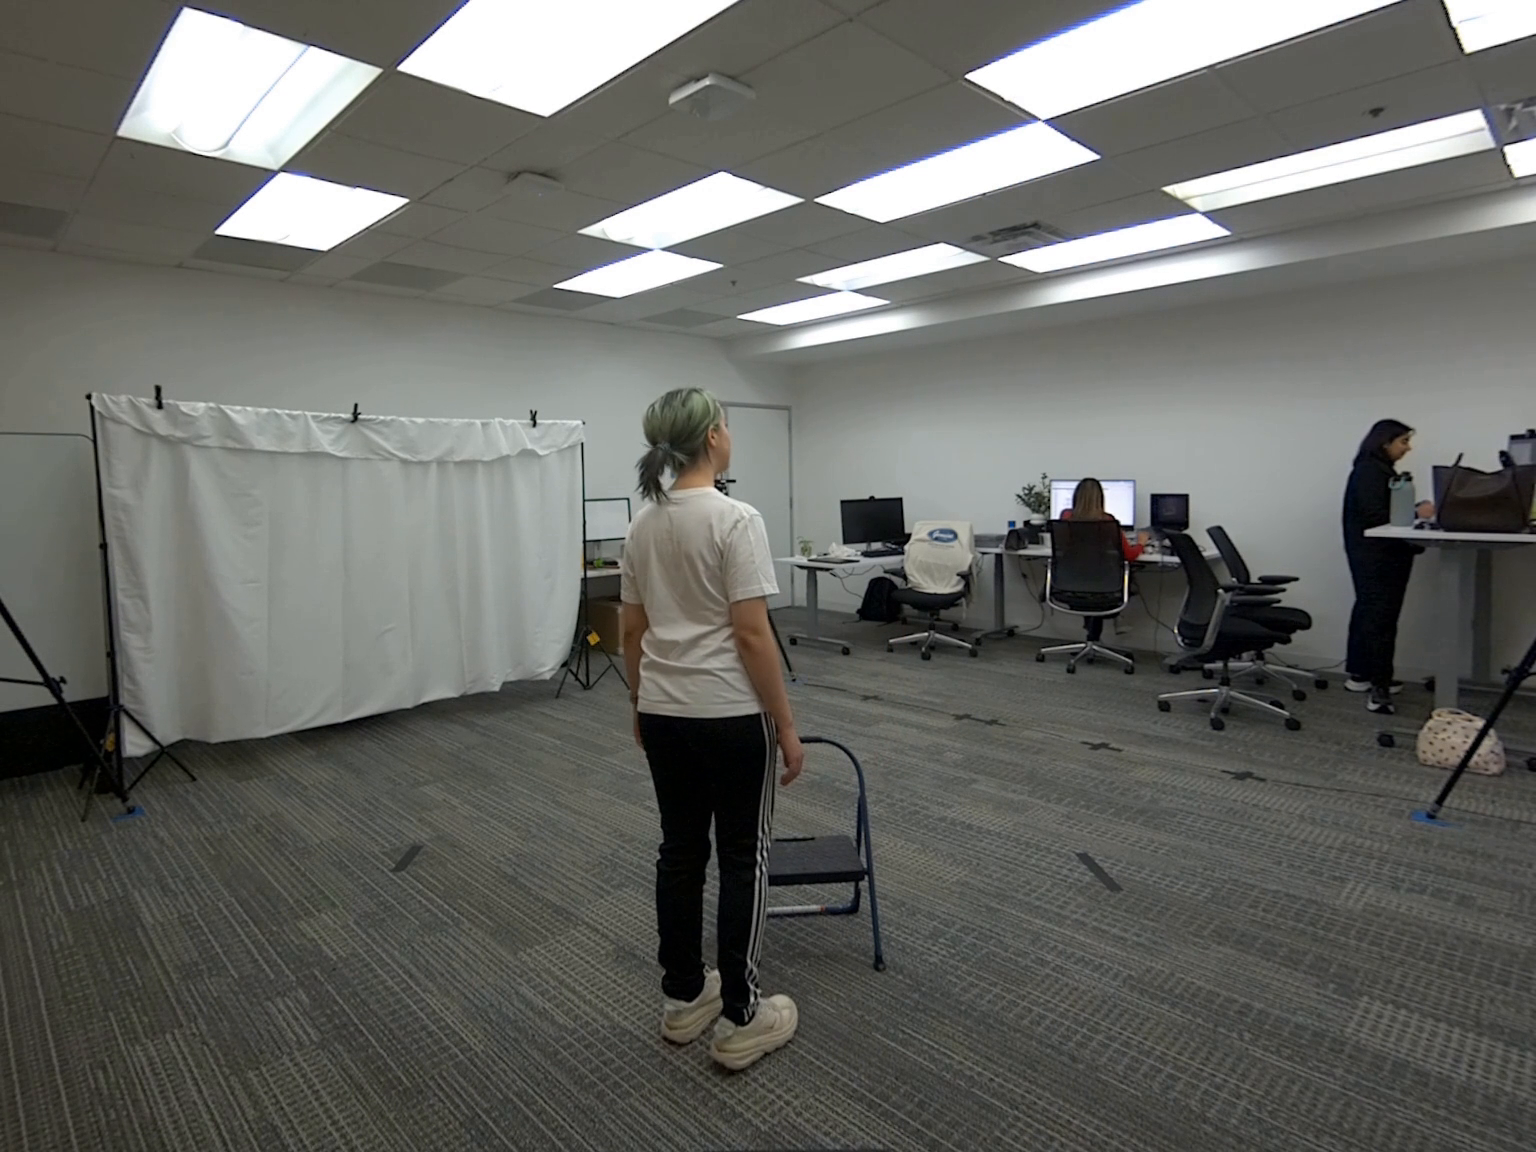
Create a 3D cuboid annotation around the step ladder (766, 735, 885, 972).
[{"bbox_3d":[0.106,0.807,2.567,0.429,0.604,0.352,-2,4,-4],"label":"step ladder"}]
